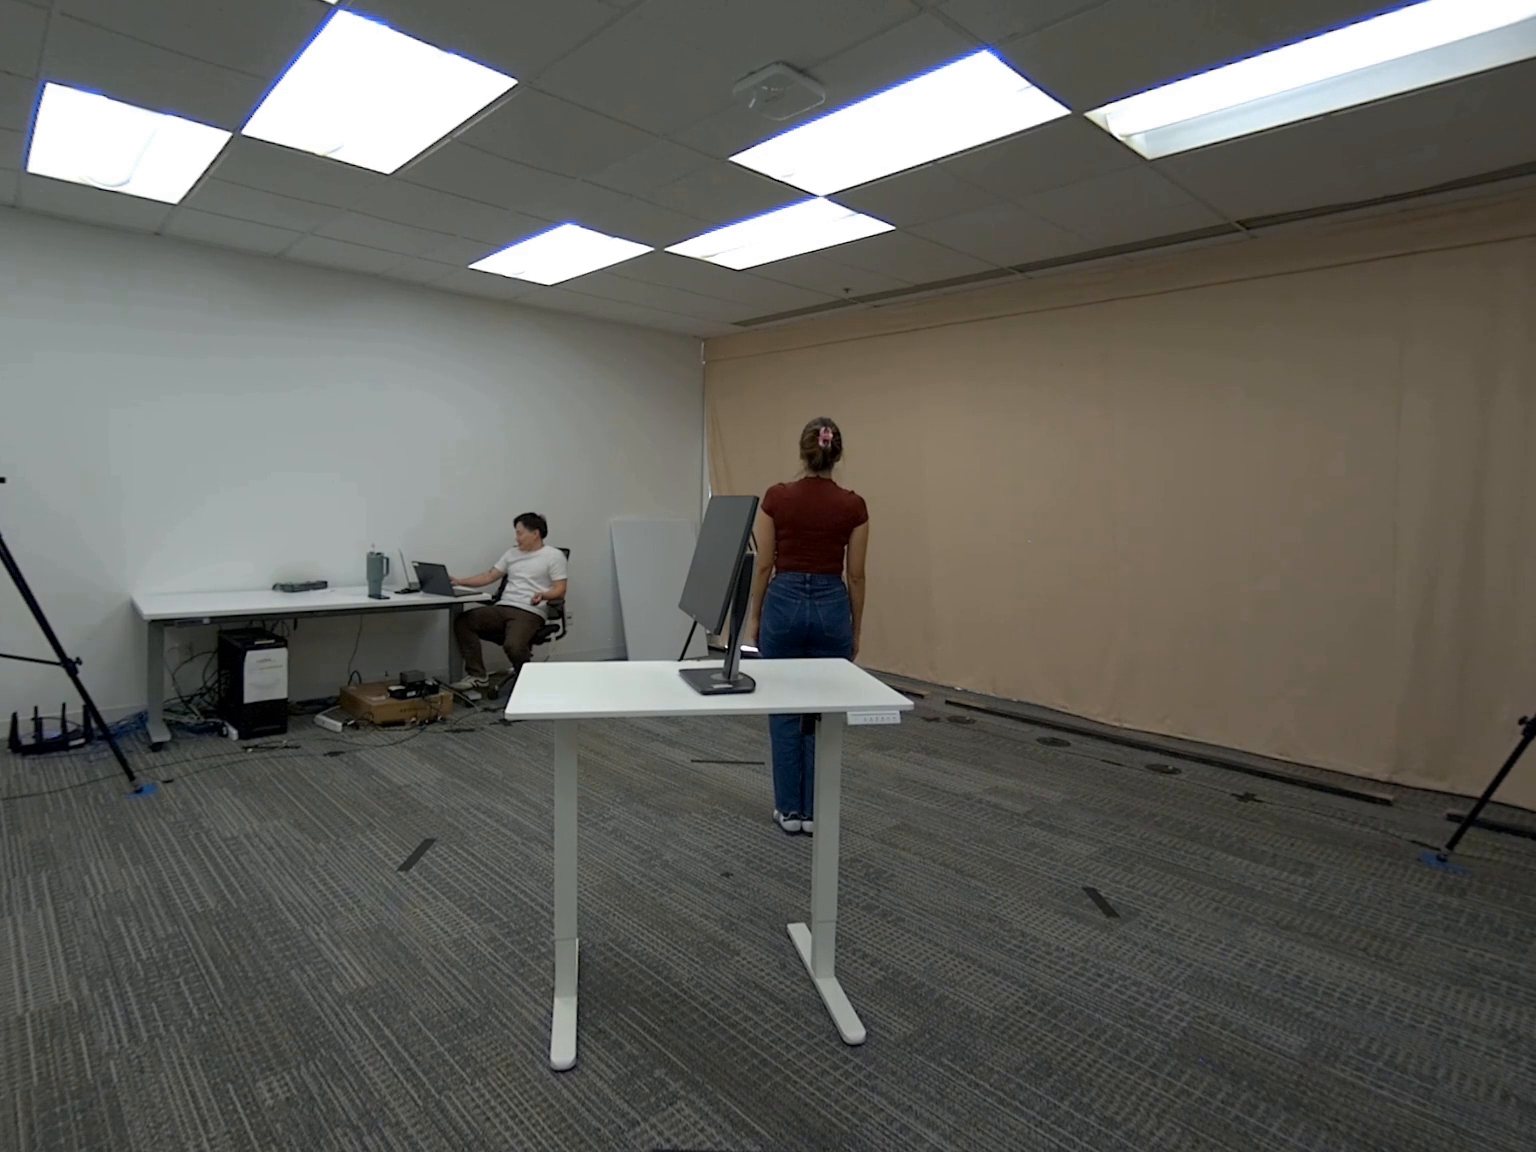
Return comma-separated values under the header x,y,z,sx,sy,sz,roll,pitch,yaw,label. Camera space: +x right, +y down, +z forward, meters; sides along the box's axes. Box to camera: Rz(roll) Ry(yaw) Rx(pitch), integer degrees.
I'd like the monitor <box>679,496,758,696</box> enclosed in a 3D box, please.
x,y,z,sx,sy,sz,roll,pitch,yaw,label
-0.123,0.043,2.295,0.185,0.522,0.547,3,3,-17,monitor
